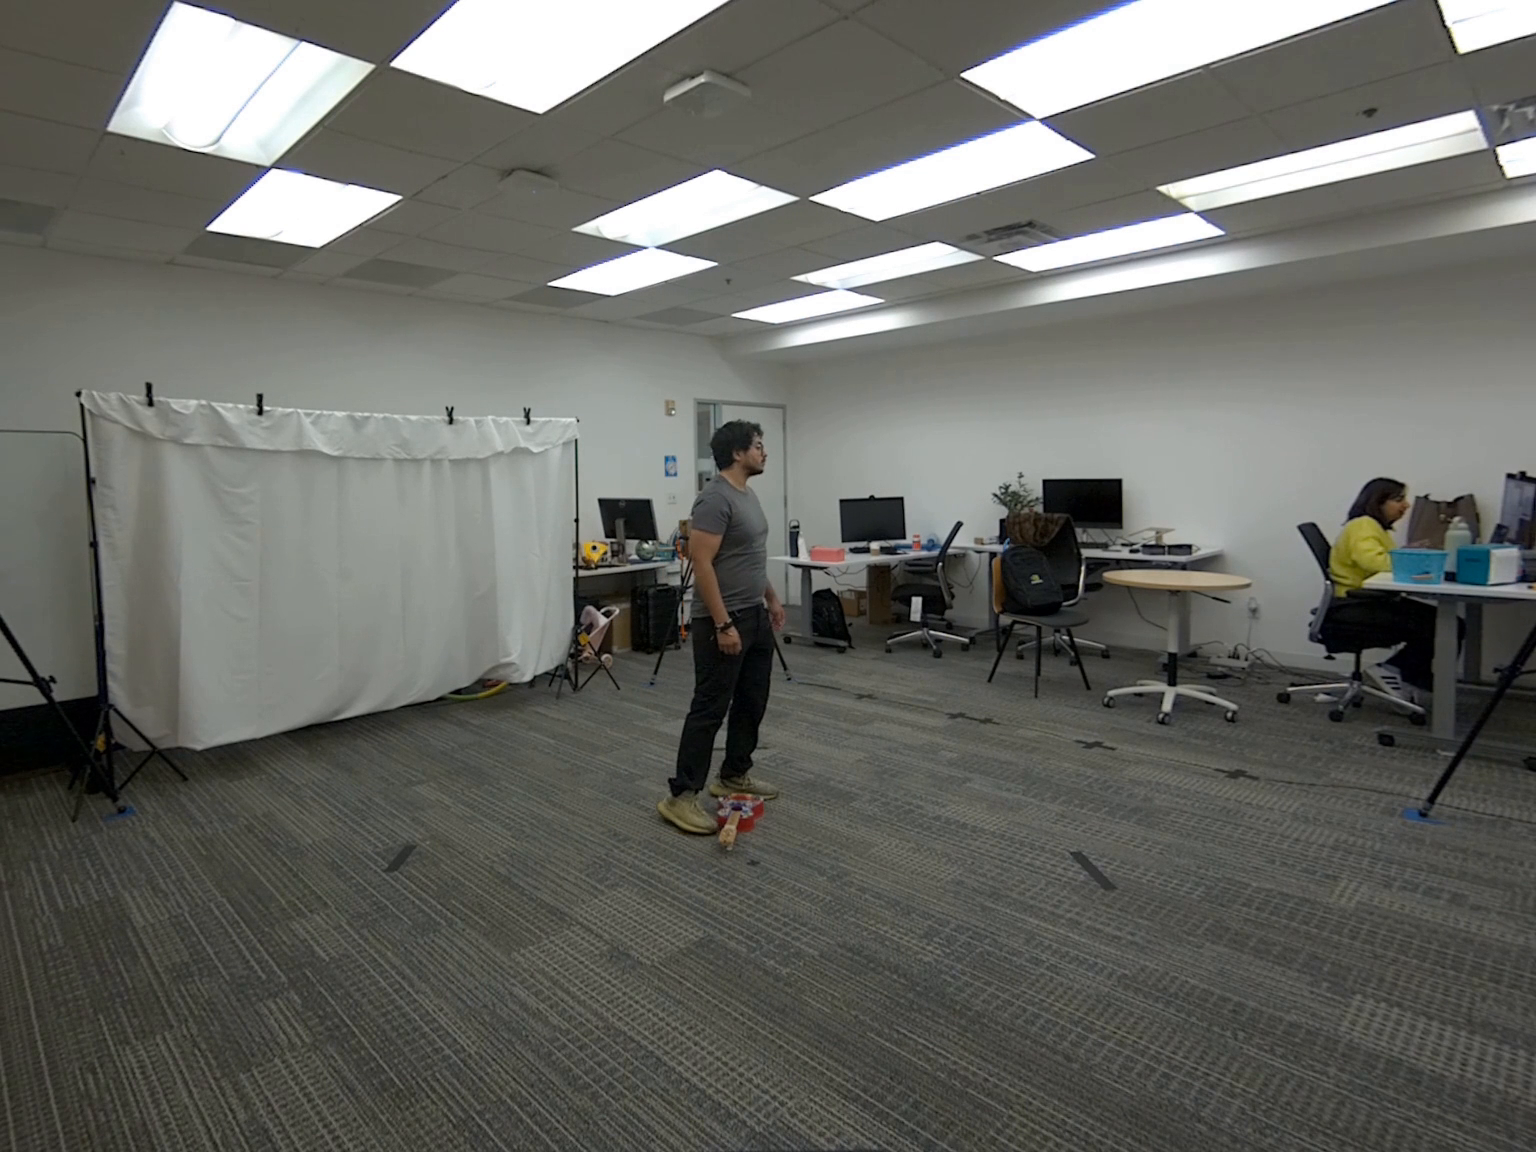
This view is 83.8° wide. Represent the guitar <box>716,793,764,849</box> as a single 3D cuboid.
[{"bbox_3d":[-0.165,0.977,3.398,0.196,0.070,0.492,2,6,15],"label":"guitar"}]
